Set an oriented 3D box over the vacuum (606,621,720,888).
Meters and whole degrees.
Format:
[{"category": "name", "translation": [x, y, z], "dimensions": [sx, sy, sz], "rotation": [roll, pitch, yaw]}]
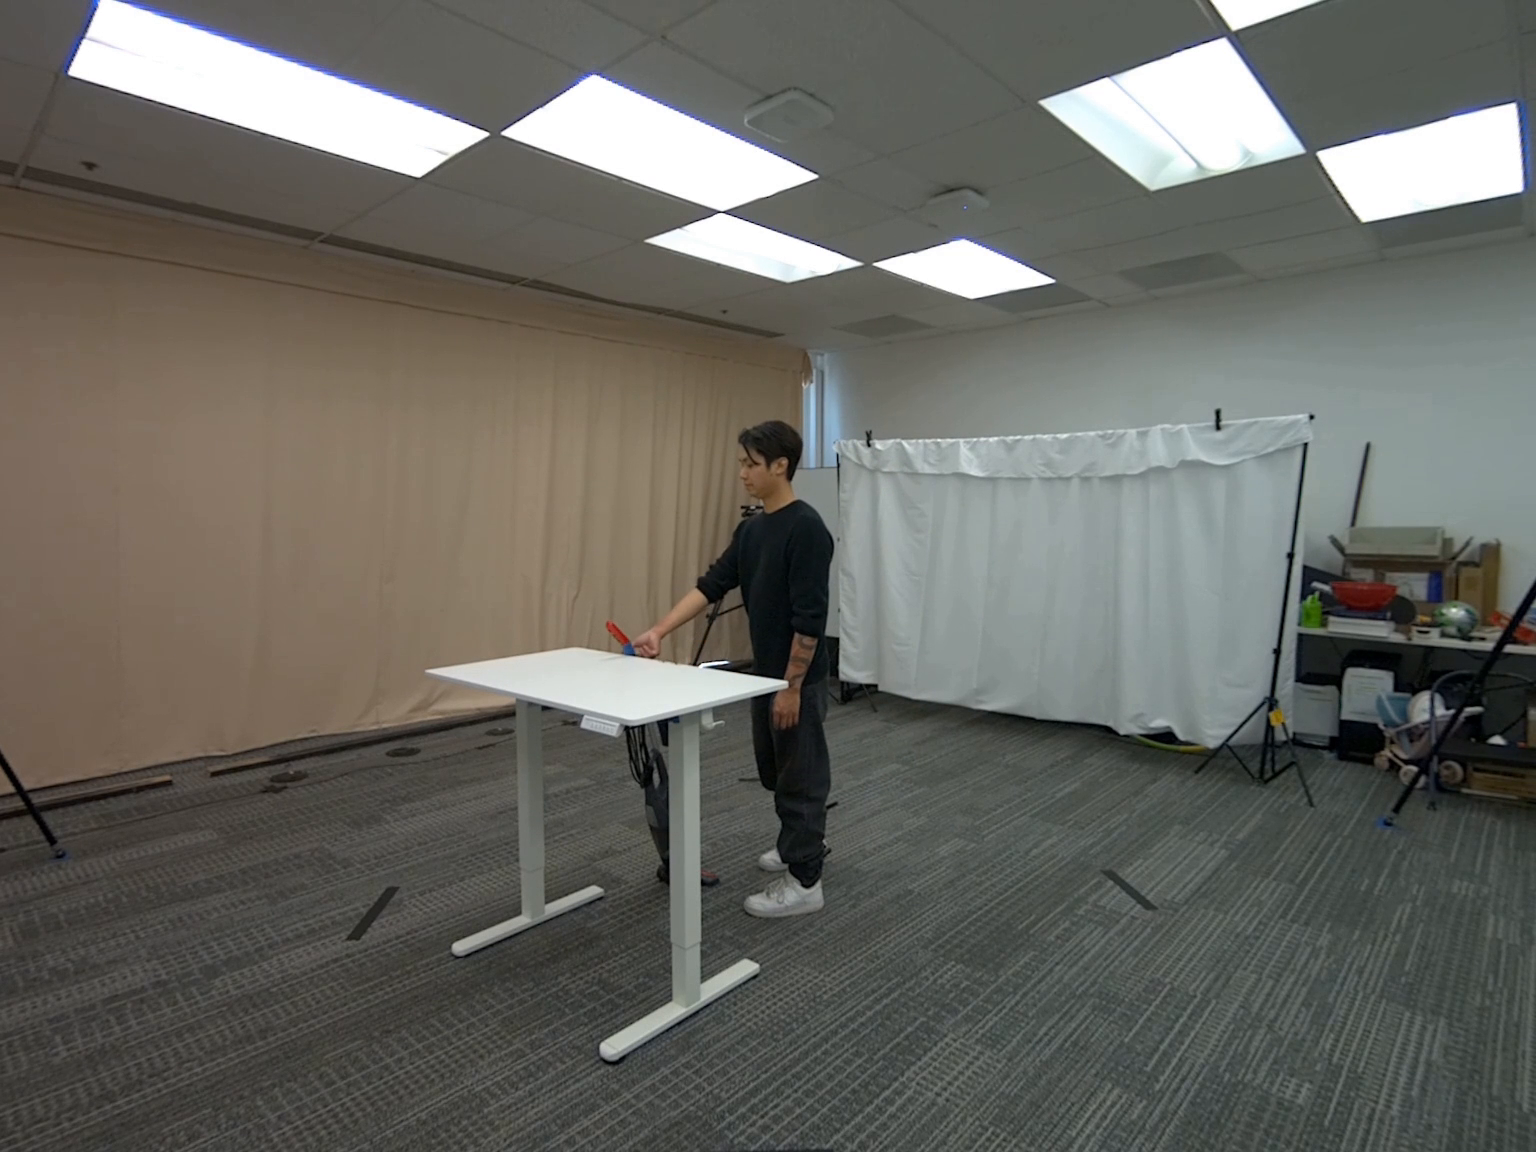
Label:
[{"category": "vacuum", "translation": [-0.432, 0.655, 3.002], "dimensions": [0.261, 1.035, 0.141], "rotation": [0, 21, 40]}]
